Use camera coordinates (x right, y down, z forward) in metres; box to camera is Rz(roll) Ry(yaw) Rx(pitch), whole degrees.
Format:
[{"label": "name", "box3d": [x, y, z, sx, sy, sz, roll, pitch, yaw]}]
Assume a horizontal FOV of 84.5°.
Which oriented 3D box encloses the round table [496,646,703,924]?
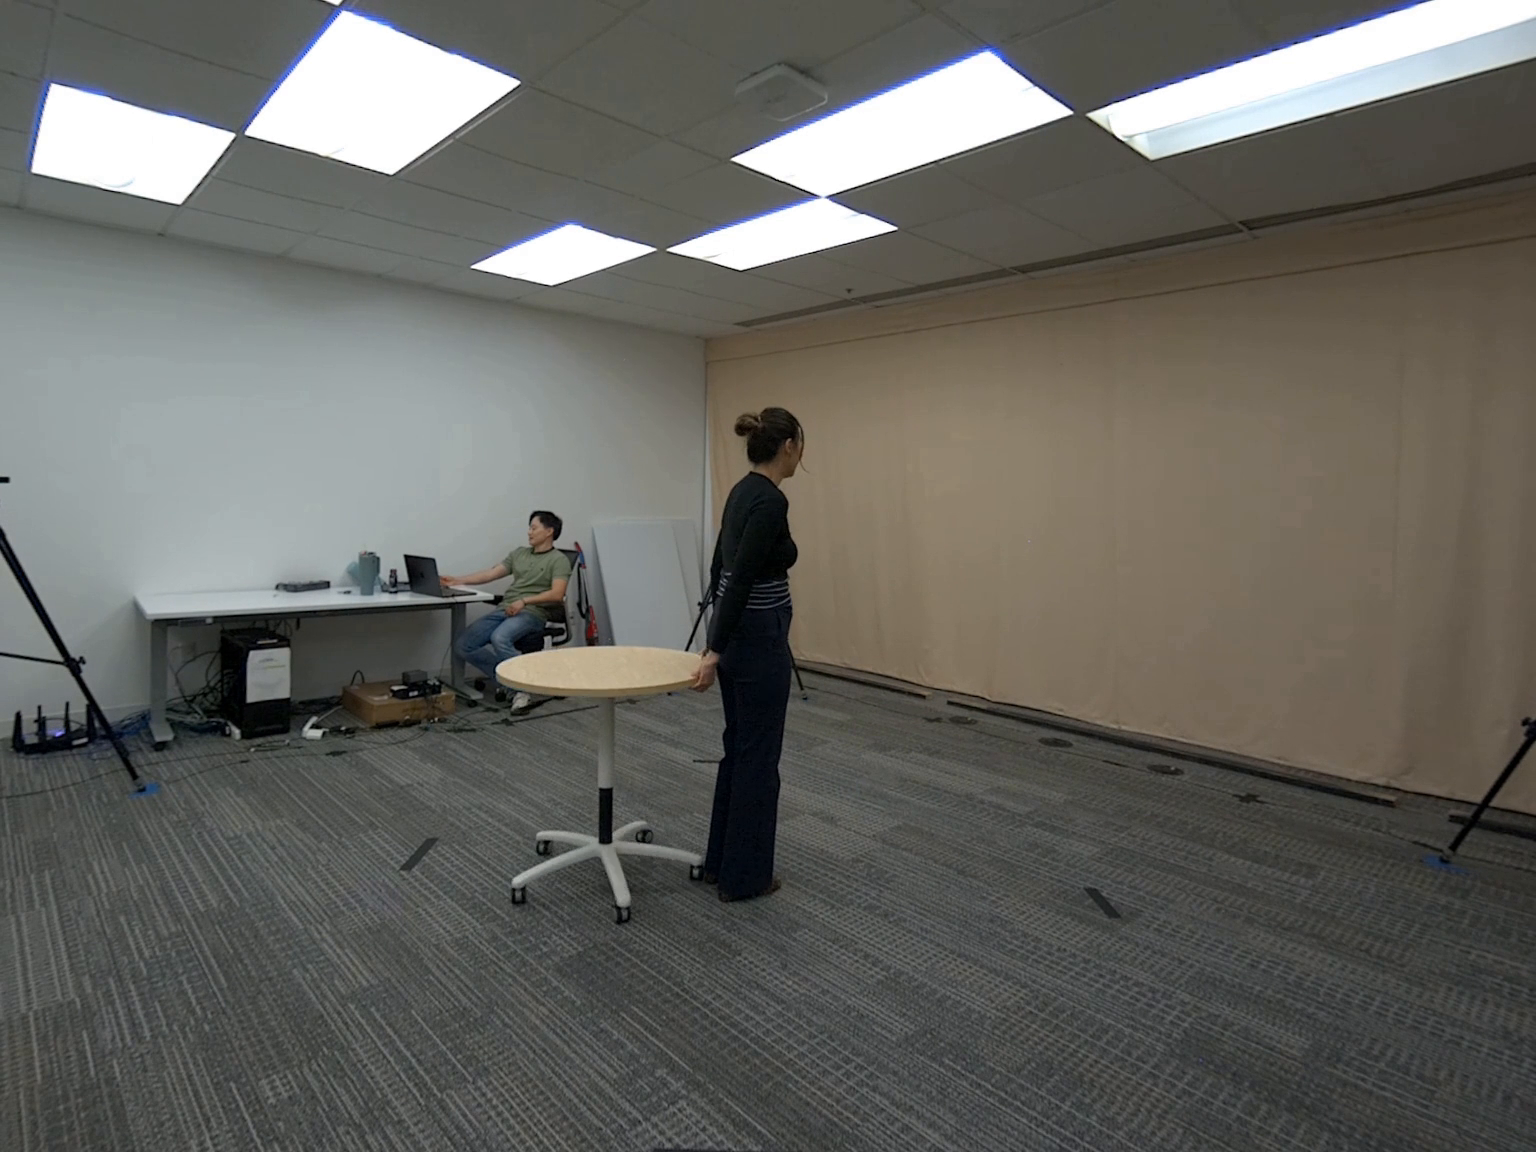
[{"label": "round table", "box3d": [-0.577, 0.710, 3.017, 0.763, 0.792, 0.766, 1, 4, -1]}]
